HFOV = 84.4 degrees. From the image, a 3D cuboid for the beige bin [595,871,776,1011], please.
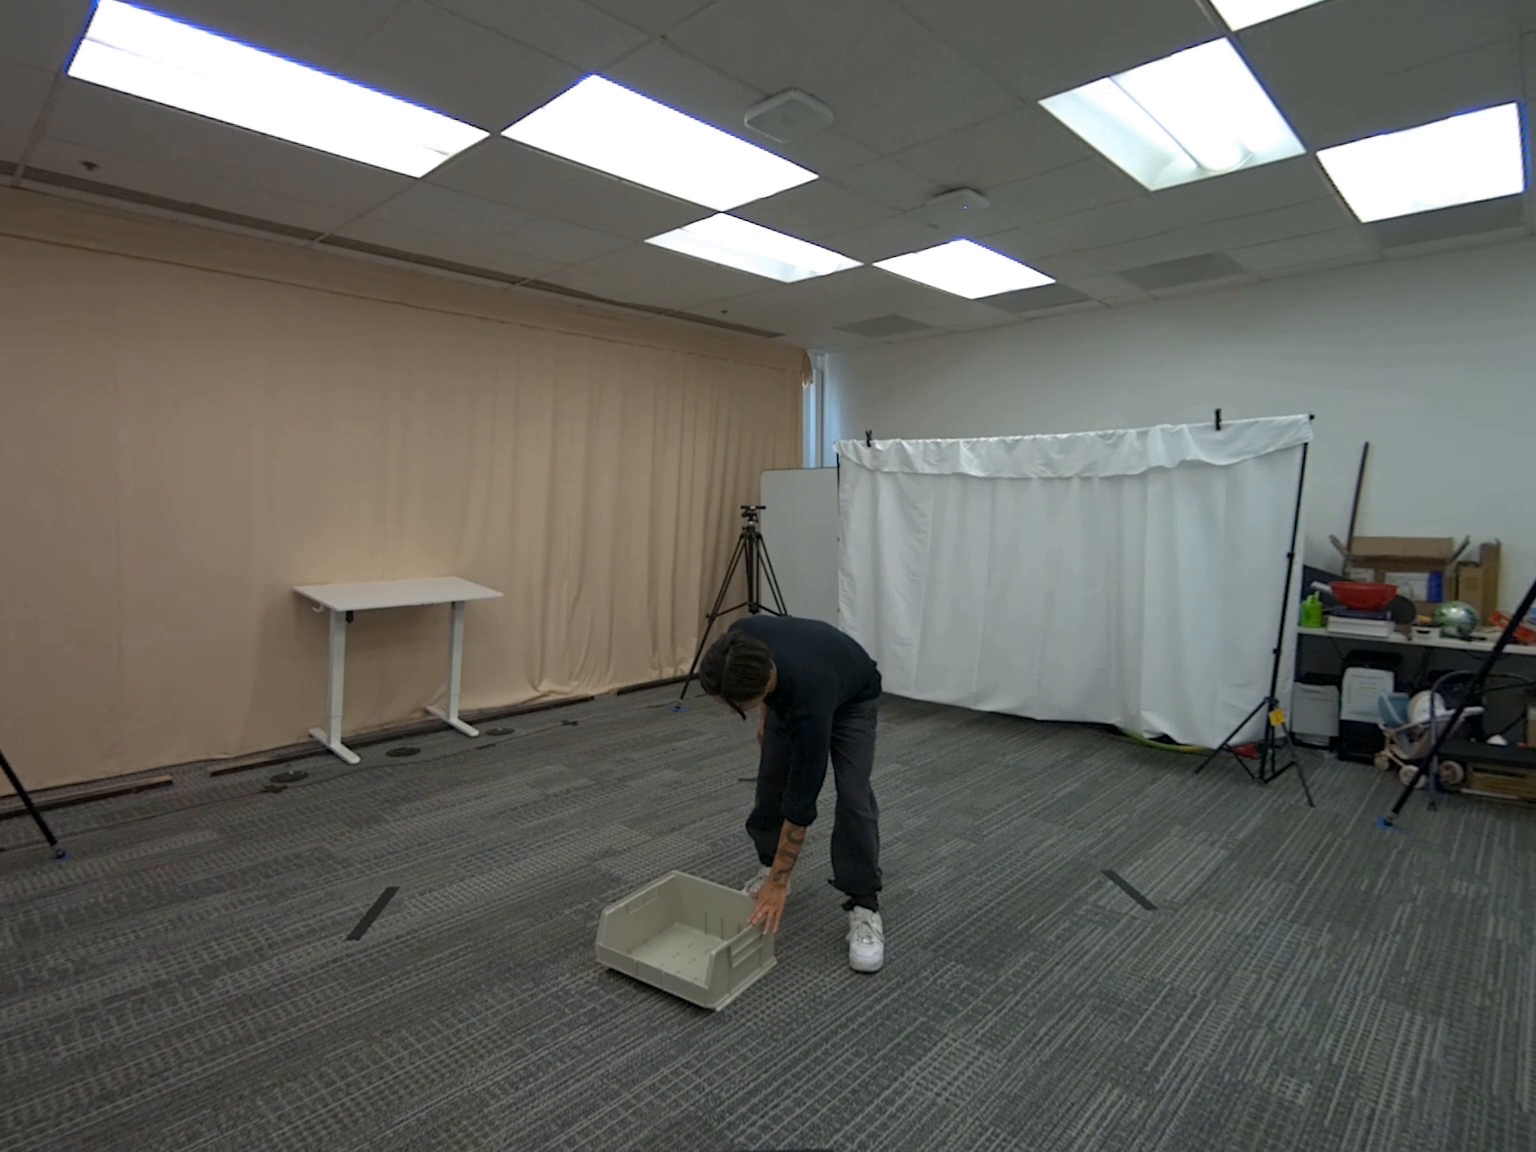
[{"bbox_3d":[-0.239,1.095,2.537,0.435,0.188,0.366,2,4,34],"label":"beige bin"}]
